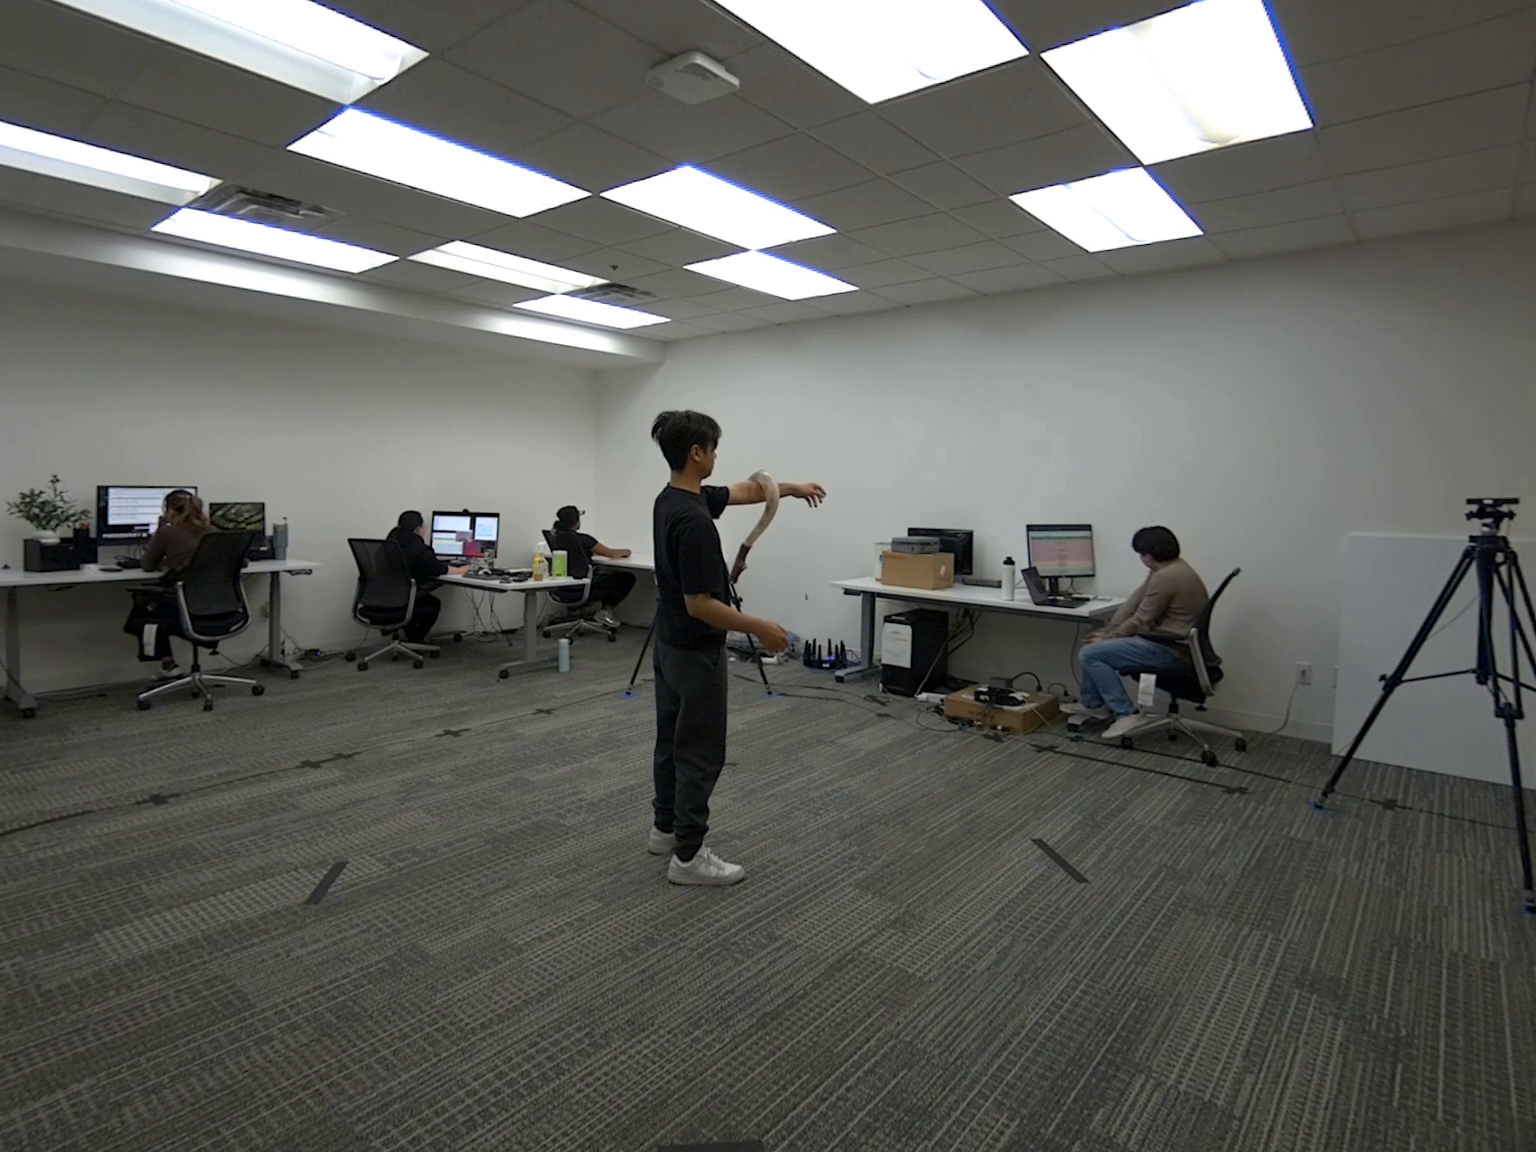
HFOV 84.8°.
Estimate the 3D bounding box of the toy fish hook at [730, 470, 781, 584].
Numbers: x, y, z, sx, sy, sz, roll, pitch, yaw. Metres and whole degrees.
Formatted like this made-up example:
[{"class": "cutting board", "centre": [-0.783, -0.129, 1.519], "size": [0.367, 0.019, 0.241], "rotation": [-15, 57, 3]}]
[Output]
[{"class": "toy fish hook", "centre": [-0.094, -0.201, 3.444], "size": [0.047, 0.501, 0.234], "rotation": [4, 35, -36]}]
